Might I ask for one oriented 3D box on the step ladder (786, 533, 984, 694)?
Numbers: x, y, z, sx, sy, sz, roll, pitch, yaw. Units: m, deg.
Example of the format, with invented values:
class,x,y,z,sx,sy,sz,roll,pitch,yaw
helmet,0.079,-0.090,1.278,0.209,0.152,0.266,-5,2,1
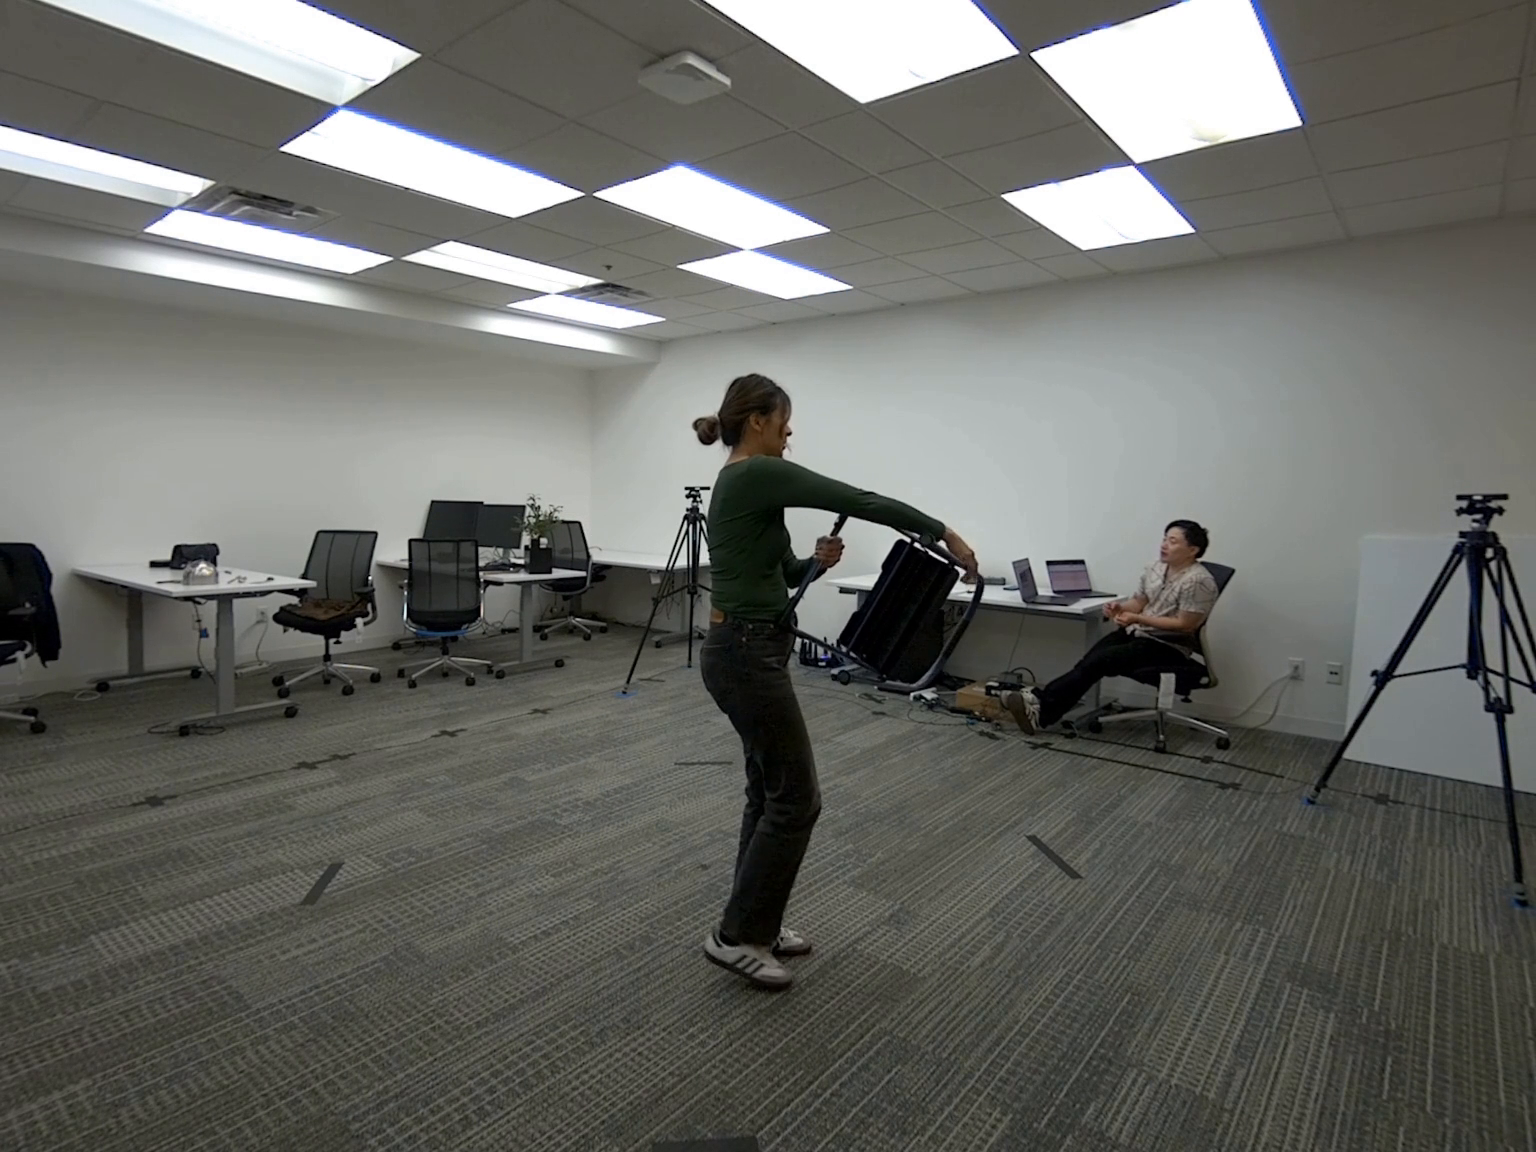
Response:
class,x,y,z,sx,sy,sz,roll,pitch,yaw
step ladder,0.415,0.126,2.391,0.582,0.430,0.364,27,6,-37
